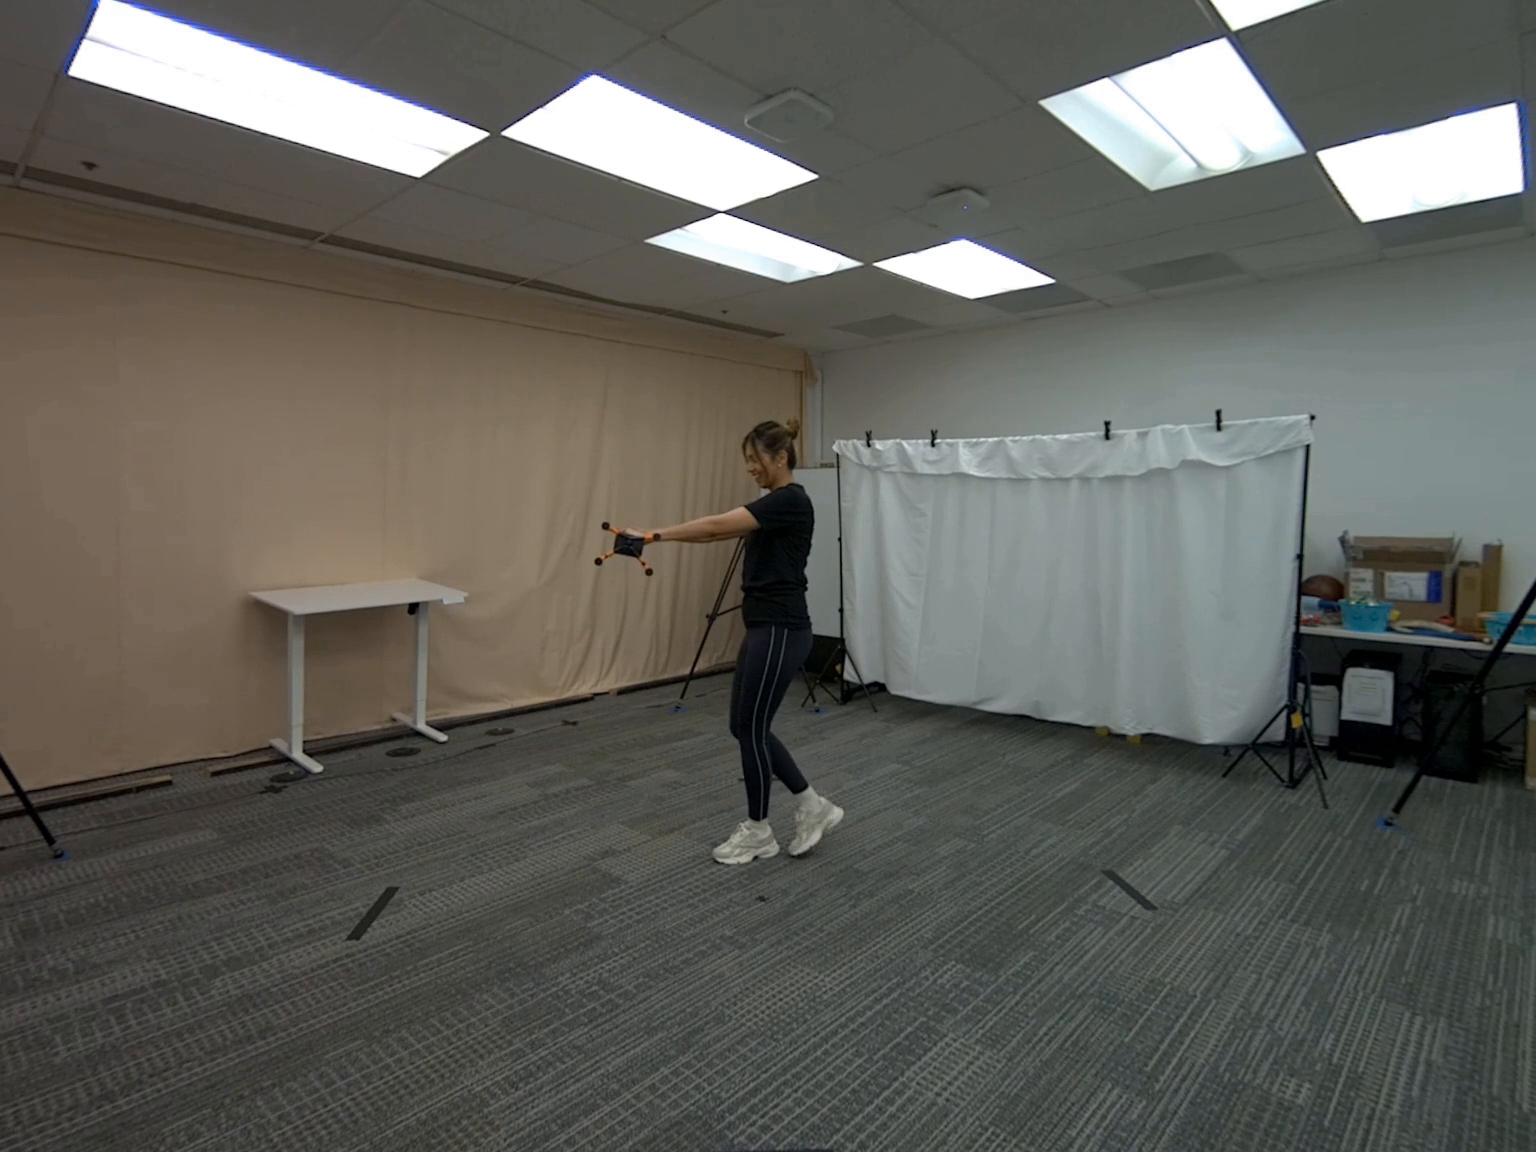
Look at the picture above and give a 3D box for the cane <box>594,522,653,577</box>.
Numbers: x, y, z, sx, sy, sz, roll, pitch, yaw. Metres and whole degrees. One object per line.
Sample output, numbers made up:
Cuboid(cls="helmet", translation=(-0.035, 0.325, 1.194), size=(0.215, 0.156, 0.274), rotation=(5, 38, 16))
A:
Cuboid(cls="cane", translation=(-0.517, -0.127, 3.326), size=(0.205, 0.151, 0.914), rotation=(14, 3, -6))
